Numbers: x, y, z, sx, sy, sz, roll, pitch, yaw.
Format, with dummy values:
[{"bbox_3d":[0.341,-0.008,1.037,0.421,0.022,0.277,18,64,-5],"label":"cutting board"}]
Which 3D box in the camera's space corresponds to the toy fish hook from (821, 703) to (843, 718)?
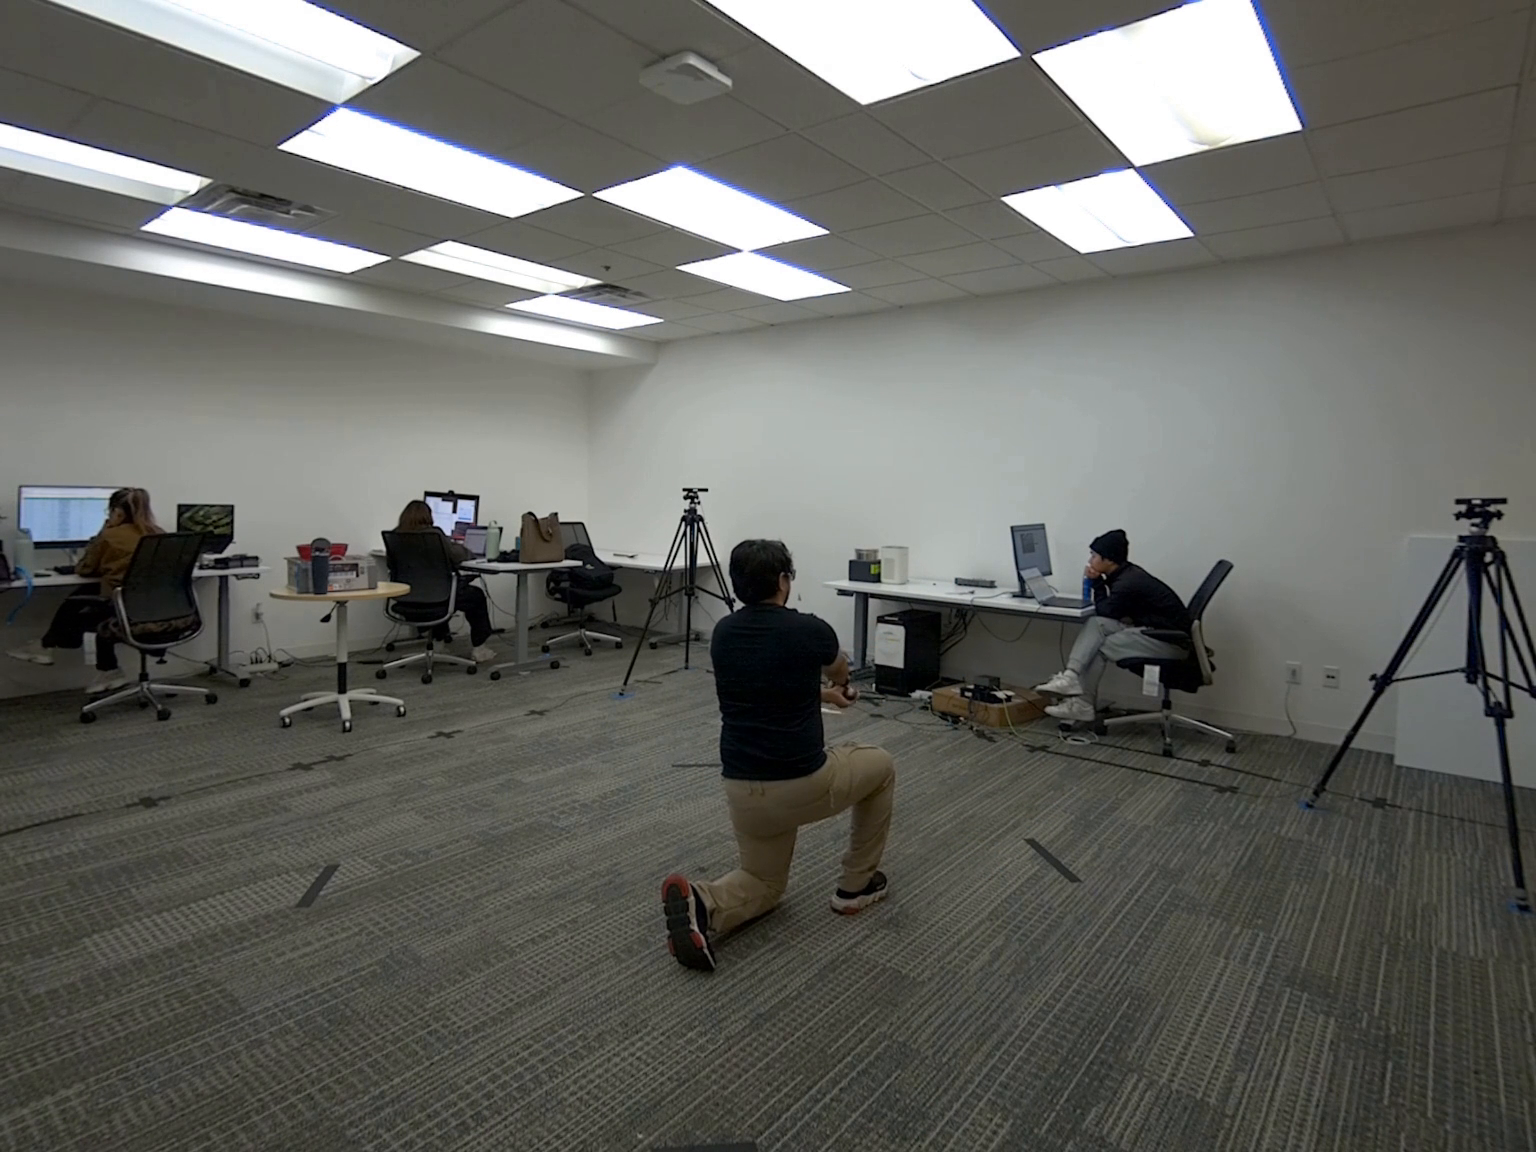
[{"bbox_3d":[0.228,0.488,3.378,0.218,0.049,0.515,24,-19,-23],"label":"toy fish hook"}]
